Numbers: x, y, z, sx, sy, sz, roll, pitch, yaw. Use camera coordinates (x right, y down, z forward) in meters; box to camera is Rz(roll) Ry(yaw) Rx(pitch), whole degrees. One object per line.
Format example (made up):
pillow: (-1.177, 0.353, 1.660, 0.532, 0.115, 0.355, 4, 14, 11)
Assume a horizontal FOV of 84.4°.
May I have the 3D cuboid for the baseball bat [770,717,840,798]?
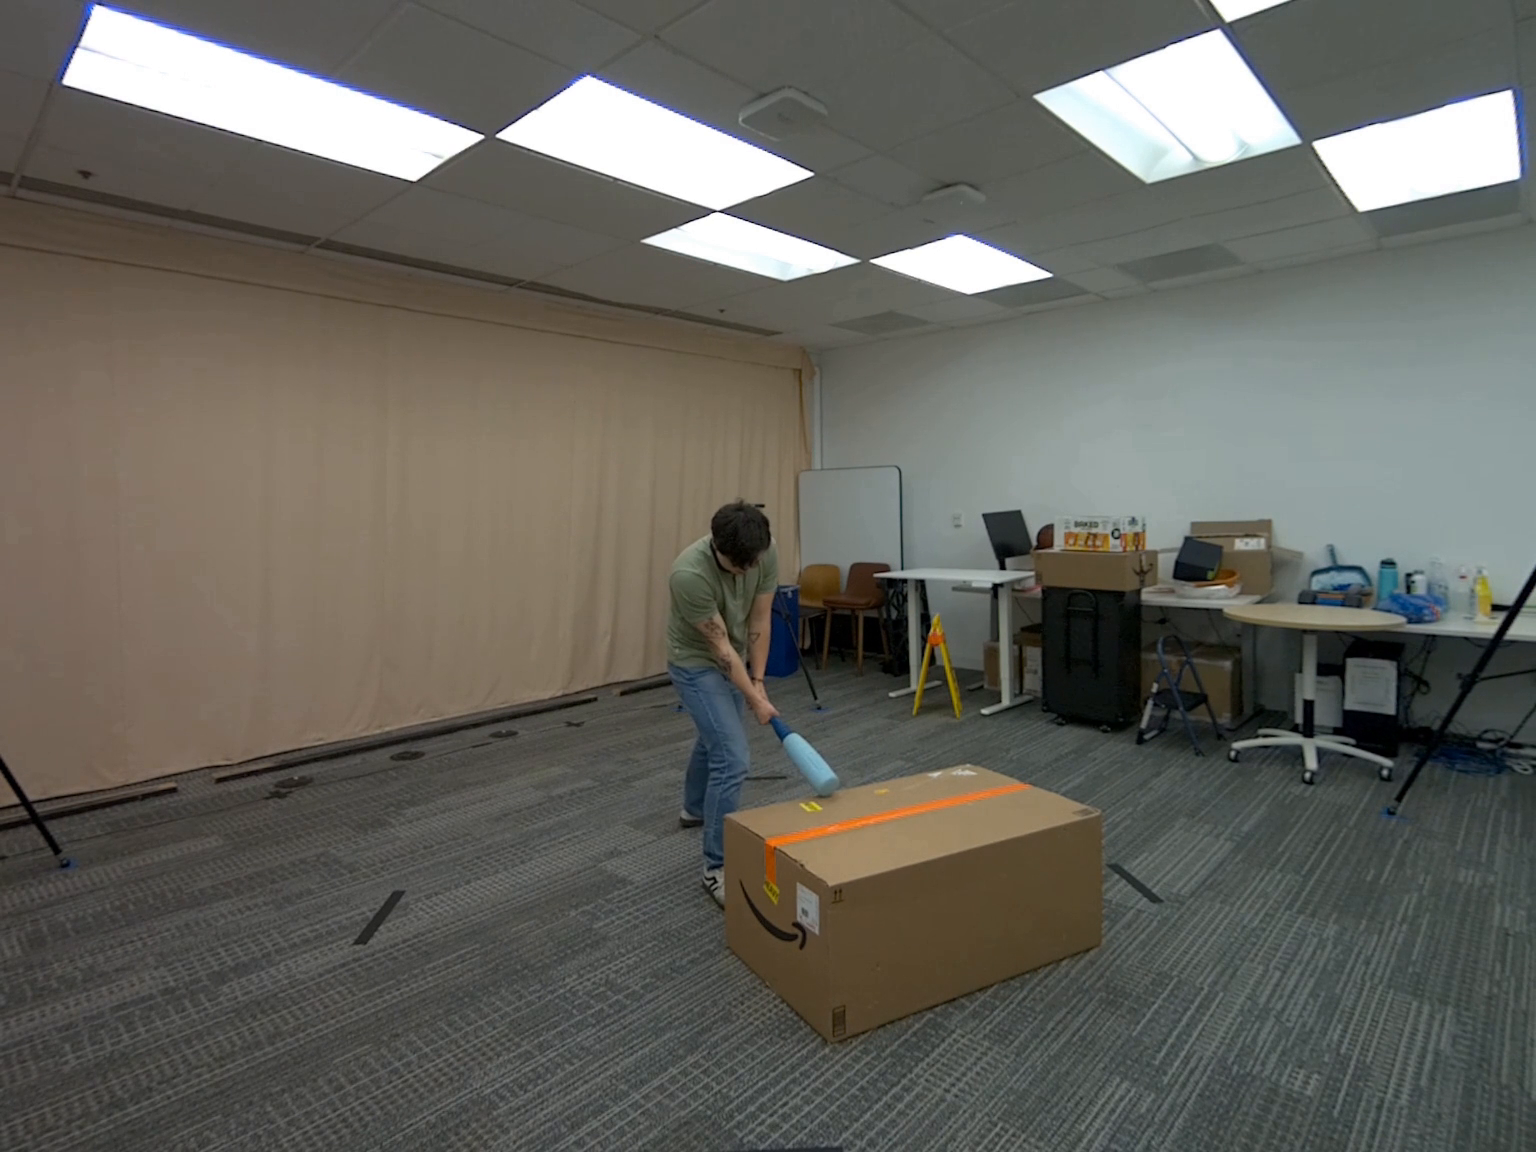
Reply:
baseball bat: (0.088, 0.558, 2.958, 0.087, 0.088, 0.562, -3, 29, -29)
